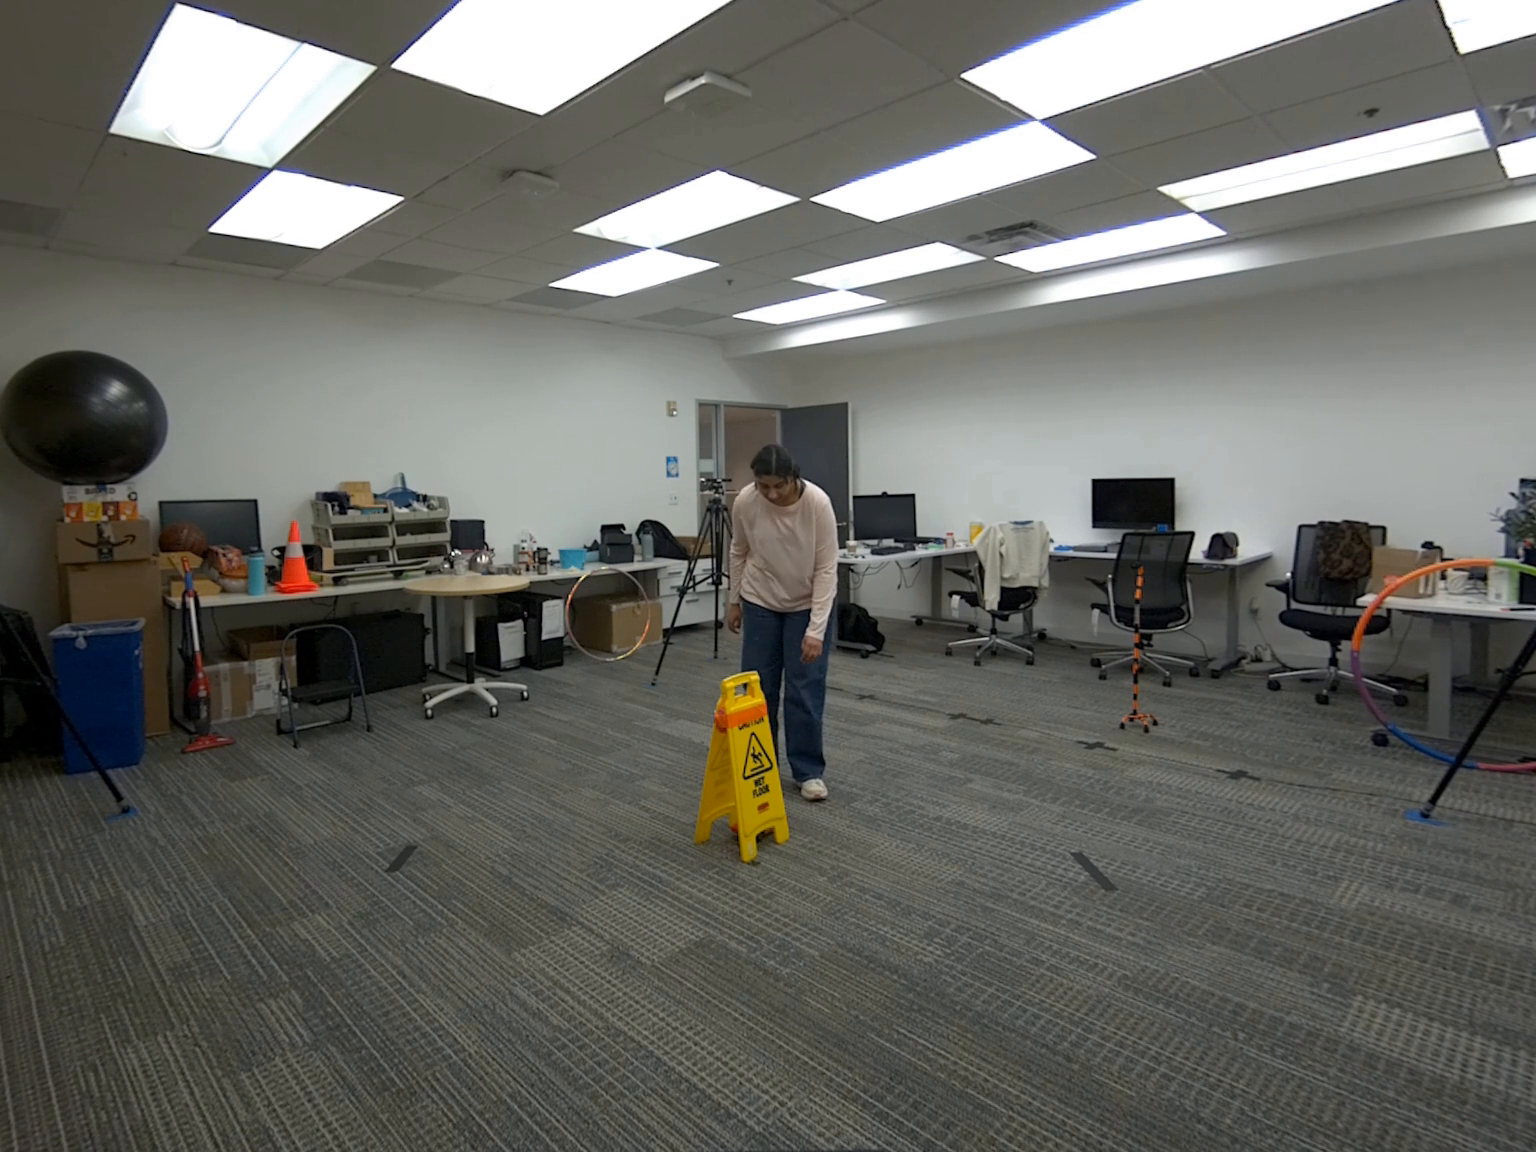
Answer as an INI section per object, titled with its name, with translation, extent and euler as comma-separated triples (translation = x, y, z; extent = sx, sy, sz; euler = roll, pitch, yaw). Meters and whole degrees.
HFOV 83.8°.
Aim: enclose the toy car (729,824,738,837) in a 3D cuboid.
[toy car]
translation = -0.043, 0.986, 3.364
extent = 0.247, 0.083, 0.134
euler = 4, 2, -43
